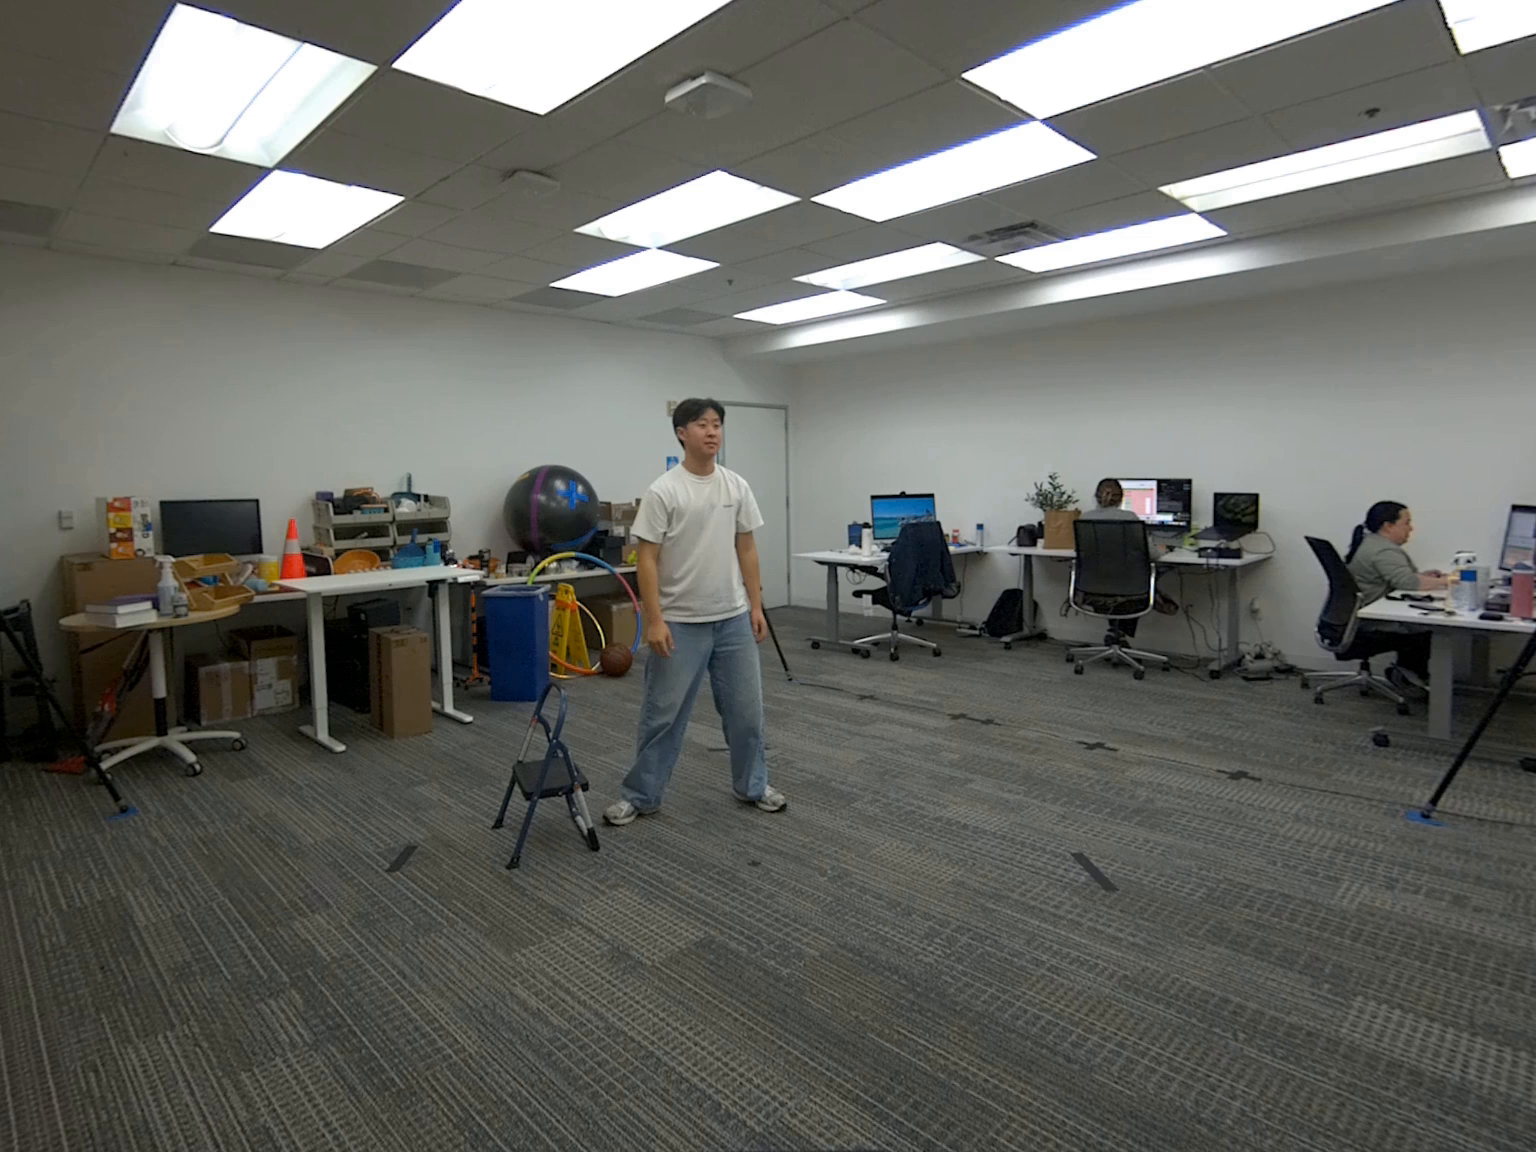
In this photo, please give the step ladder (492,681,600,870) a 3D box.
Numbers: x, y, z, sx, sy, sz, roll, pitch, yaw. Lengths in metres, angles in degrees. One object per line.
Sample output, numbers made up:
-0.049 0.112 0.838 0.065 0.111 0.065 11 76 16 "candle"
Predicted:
-0.884 0.730 3.335 0.342 0.603 0.441 -3 6 -24 "step ladder"
